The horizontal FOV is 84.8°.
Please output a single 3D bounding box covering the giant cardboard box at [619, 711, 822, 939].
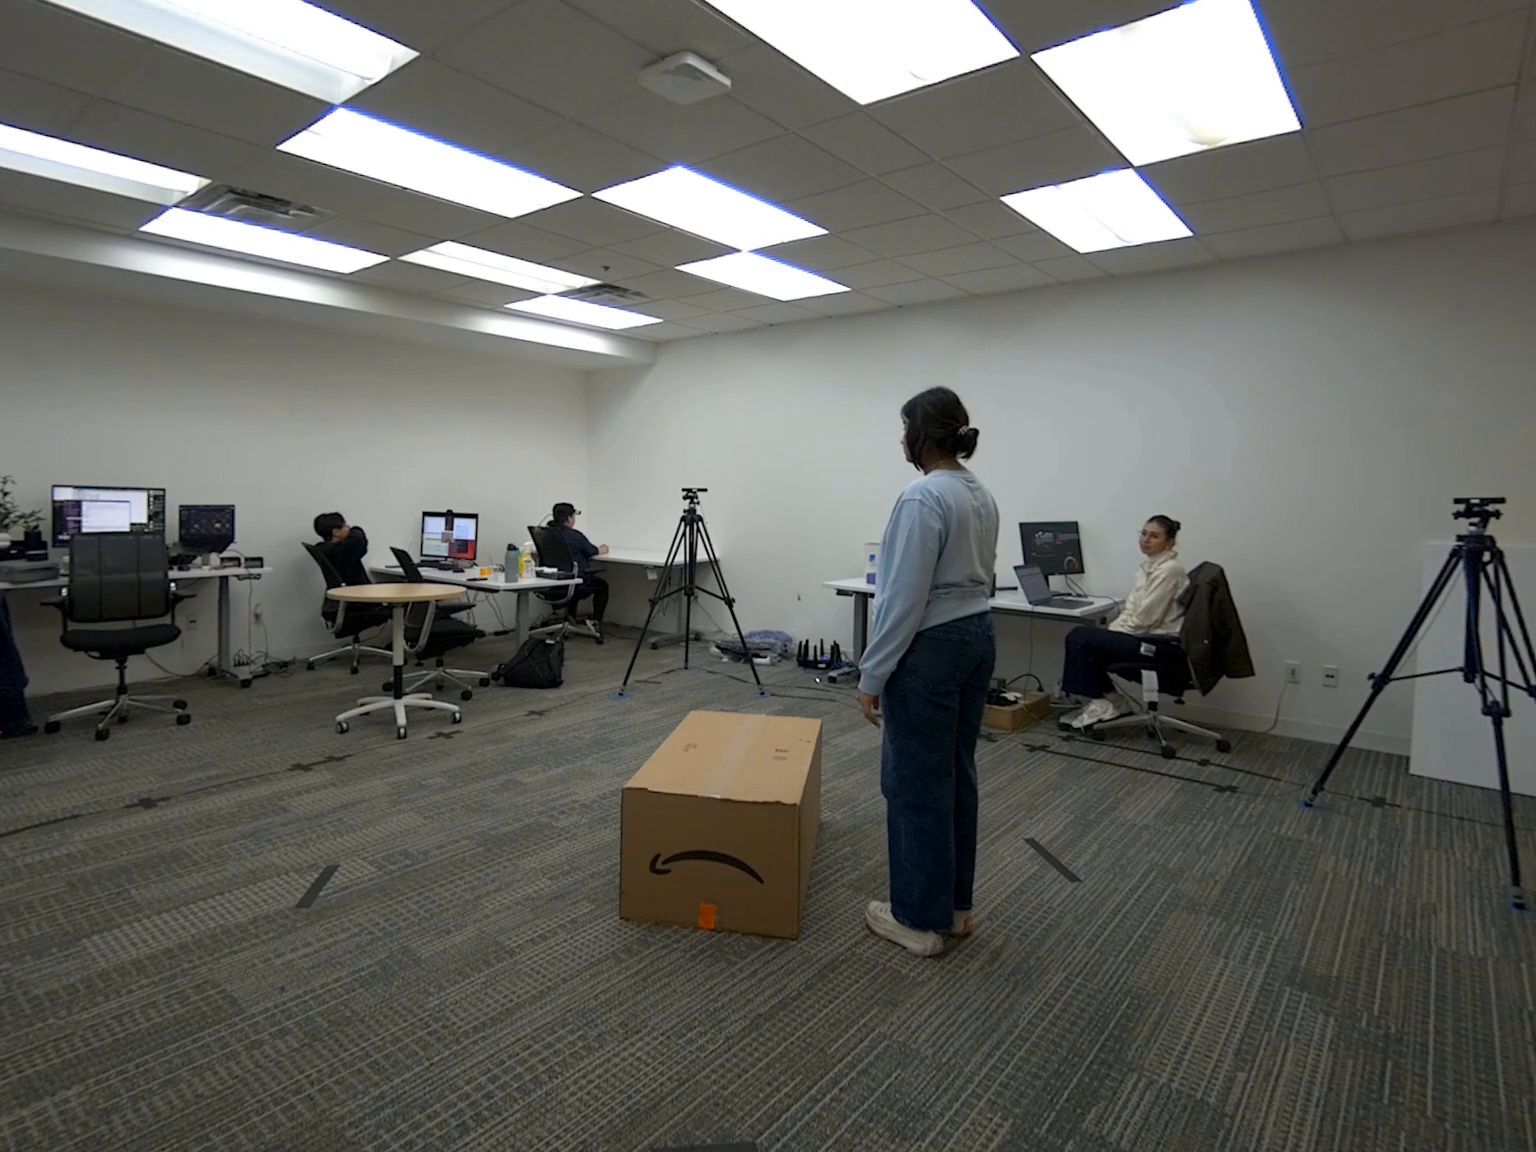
[{"bbox_3d":[-0.135,0.848,3.165,0.584,0.424,1.018,2,5,9],"label":"giant cardboard box"}]
